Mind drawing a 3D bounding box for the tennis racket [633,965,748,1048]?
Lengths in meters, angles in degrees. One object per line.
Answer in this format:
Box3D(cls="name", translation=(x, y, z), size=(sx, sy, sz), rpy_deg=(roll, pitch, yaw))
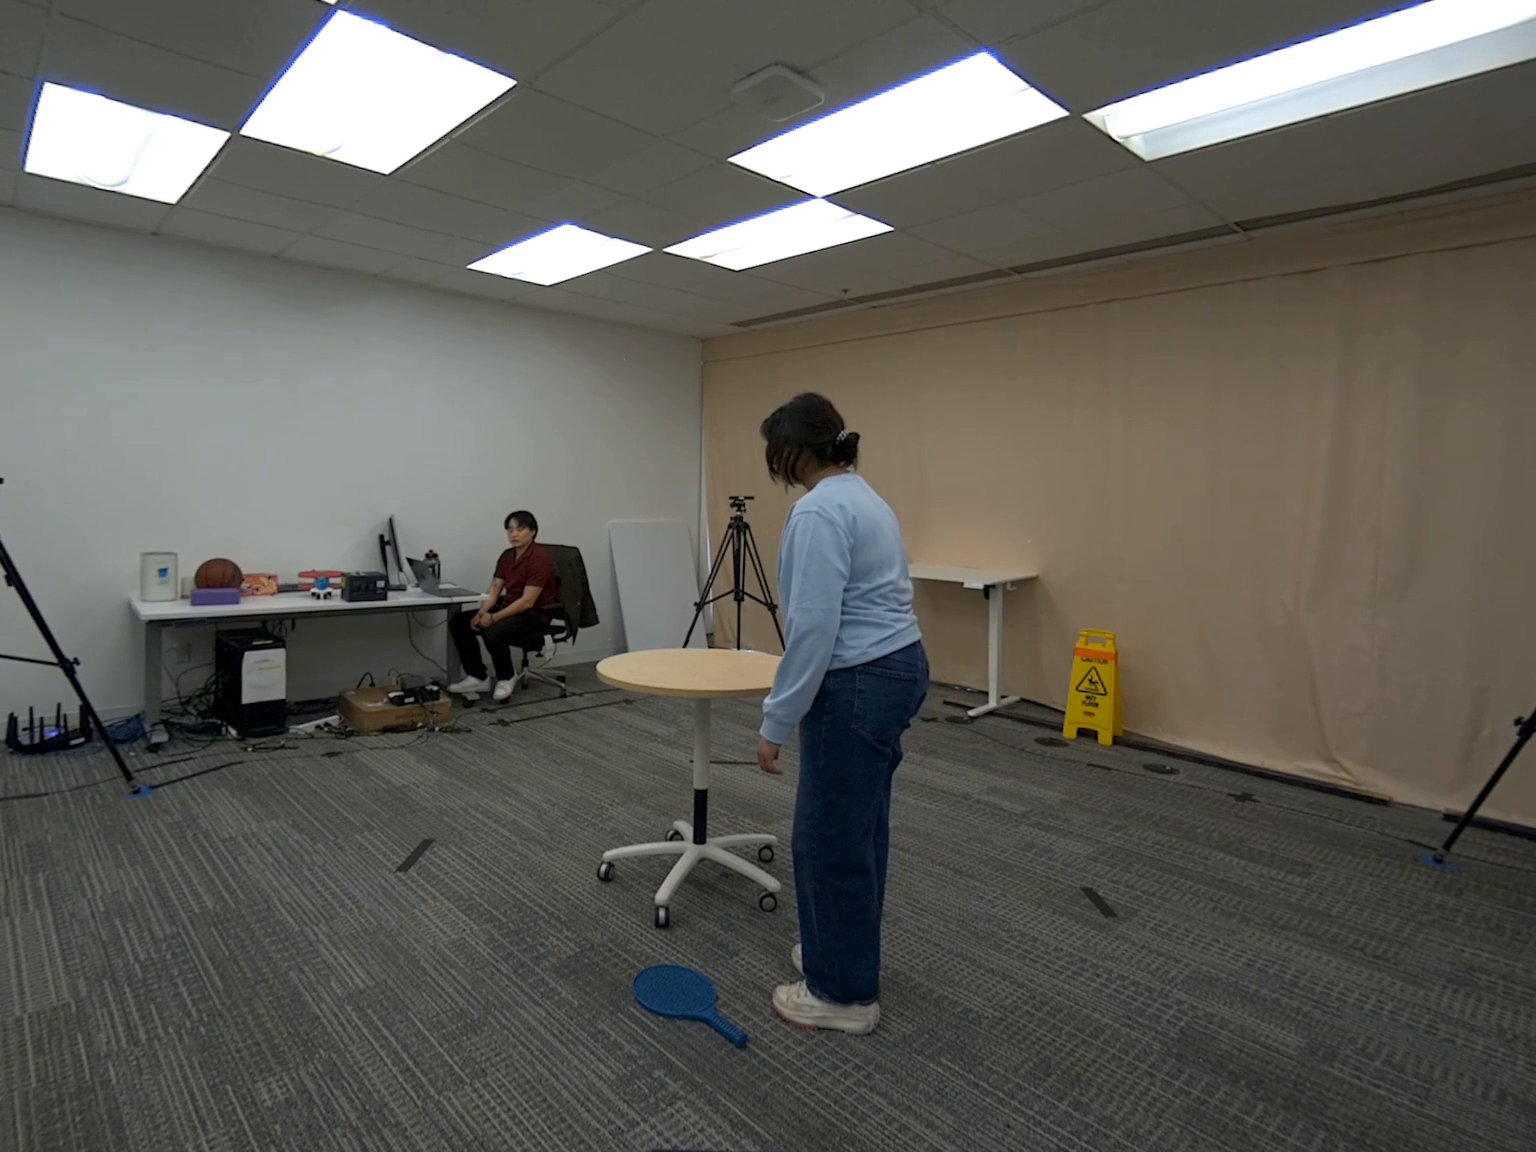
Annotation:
Box3D(cls="tennis racket", translation=(-0.209, 1.158, 2.307), size=(0.209, 0.031, 0.444), rpy_deg=(-5, 7, -42))
